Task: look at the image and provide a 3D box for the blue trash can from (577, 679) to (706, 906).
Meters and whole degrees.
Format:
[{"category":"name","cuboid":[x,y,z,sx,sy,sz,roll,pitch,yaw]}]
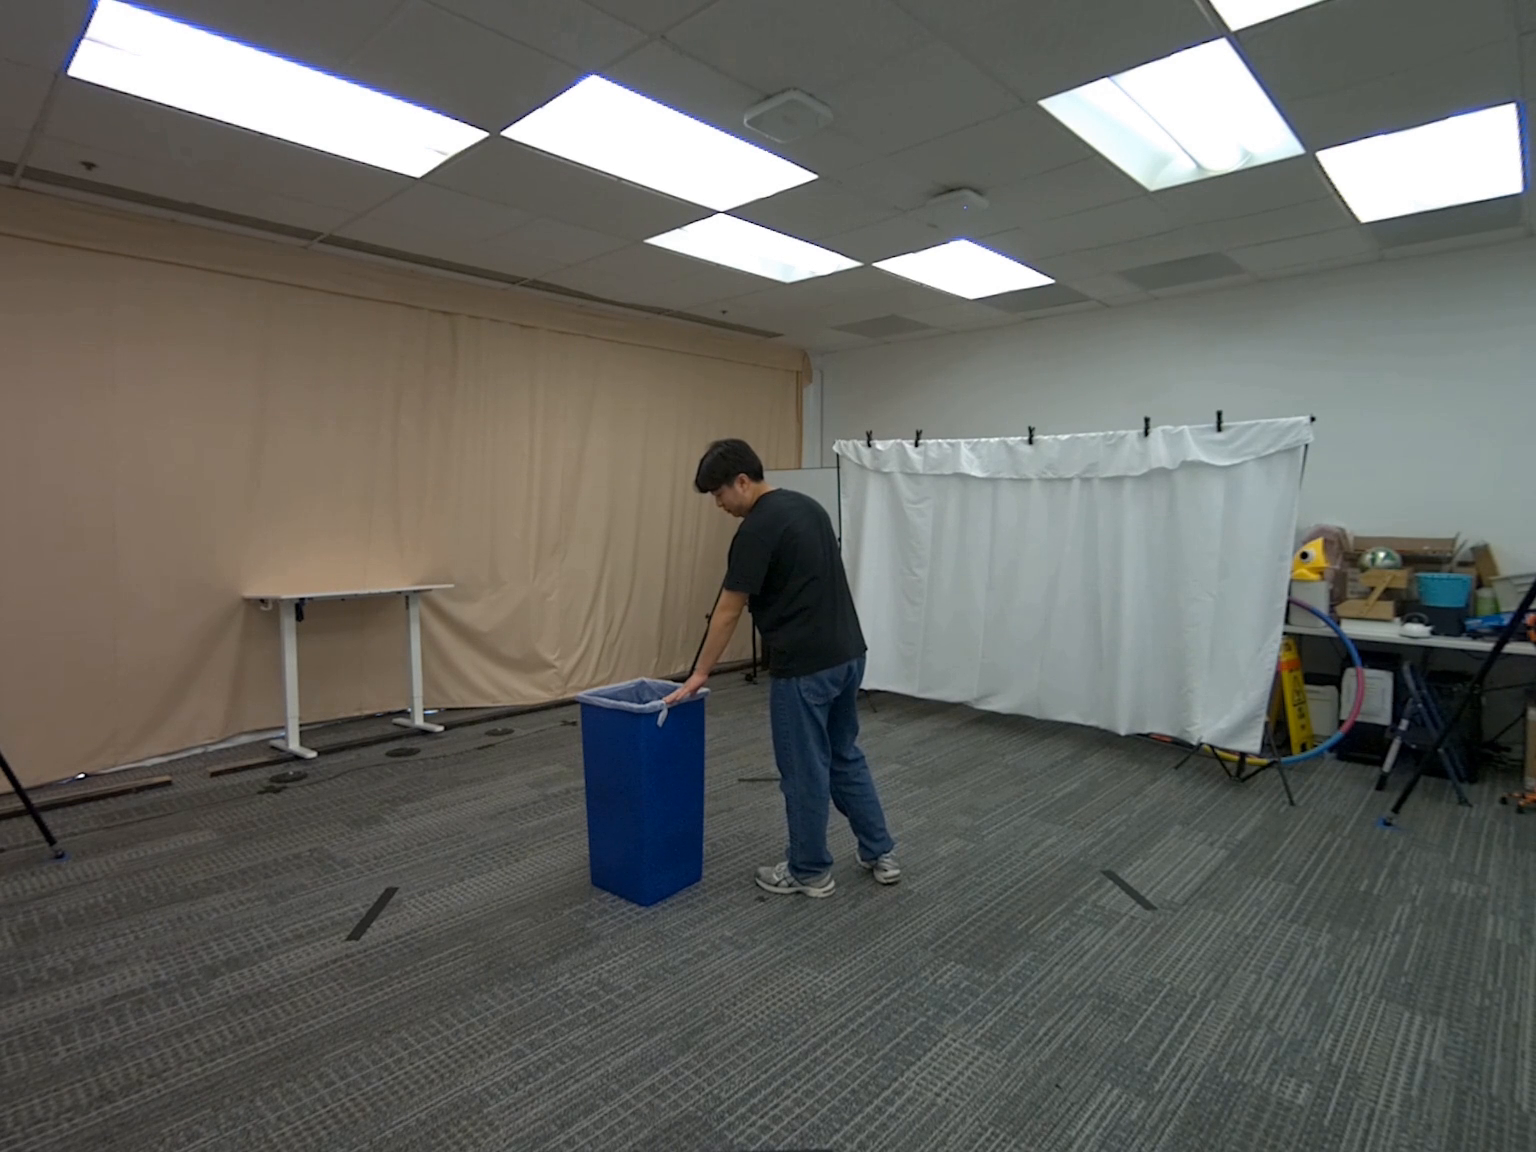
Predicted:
[{"category":"blue trash can","cuboid":[-0.463,0.782,3.118,0.386,0.712,0.367,2,4,38]}]
